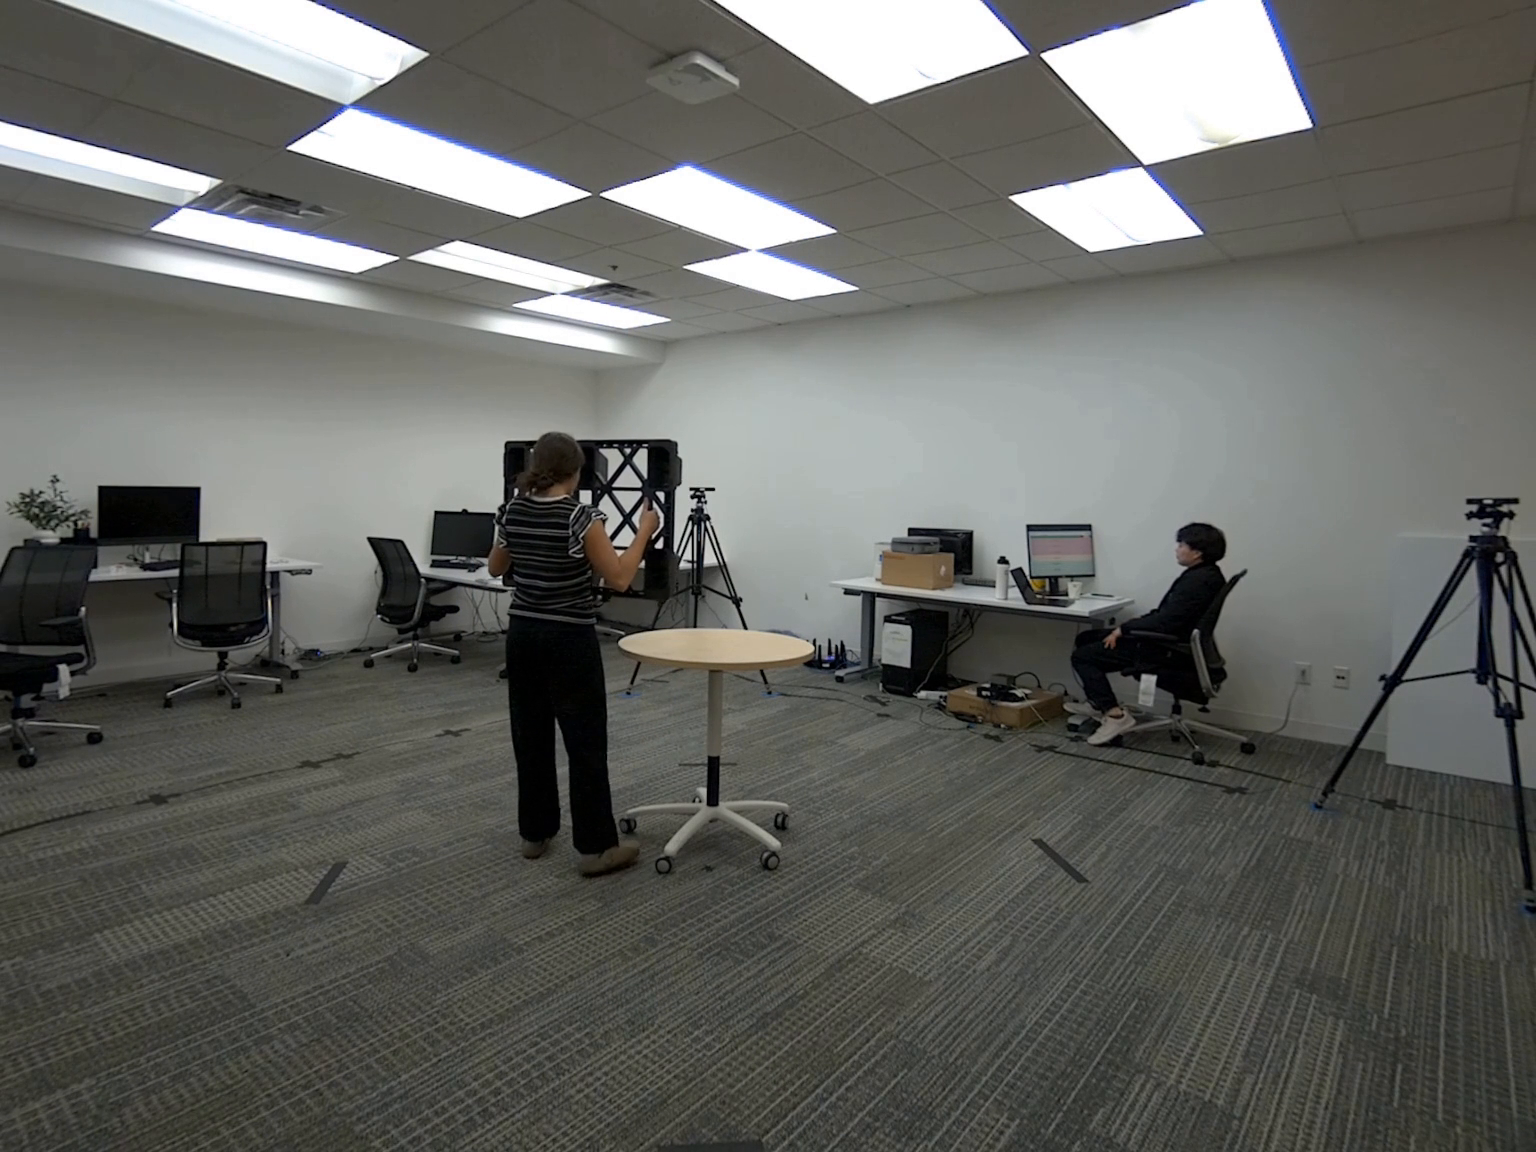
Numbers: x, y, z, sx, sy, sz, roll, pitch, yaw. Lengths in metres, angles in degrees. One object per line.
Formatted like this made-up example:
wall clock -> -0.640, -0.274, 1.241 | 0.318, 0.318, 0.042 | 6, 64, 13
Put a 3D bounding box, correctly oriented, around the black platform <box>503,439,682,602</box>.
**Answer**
black platform -> -0.713, -0.242, 3.359 | 0.826, 0.604, 0.140 | 3, 1, 25
